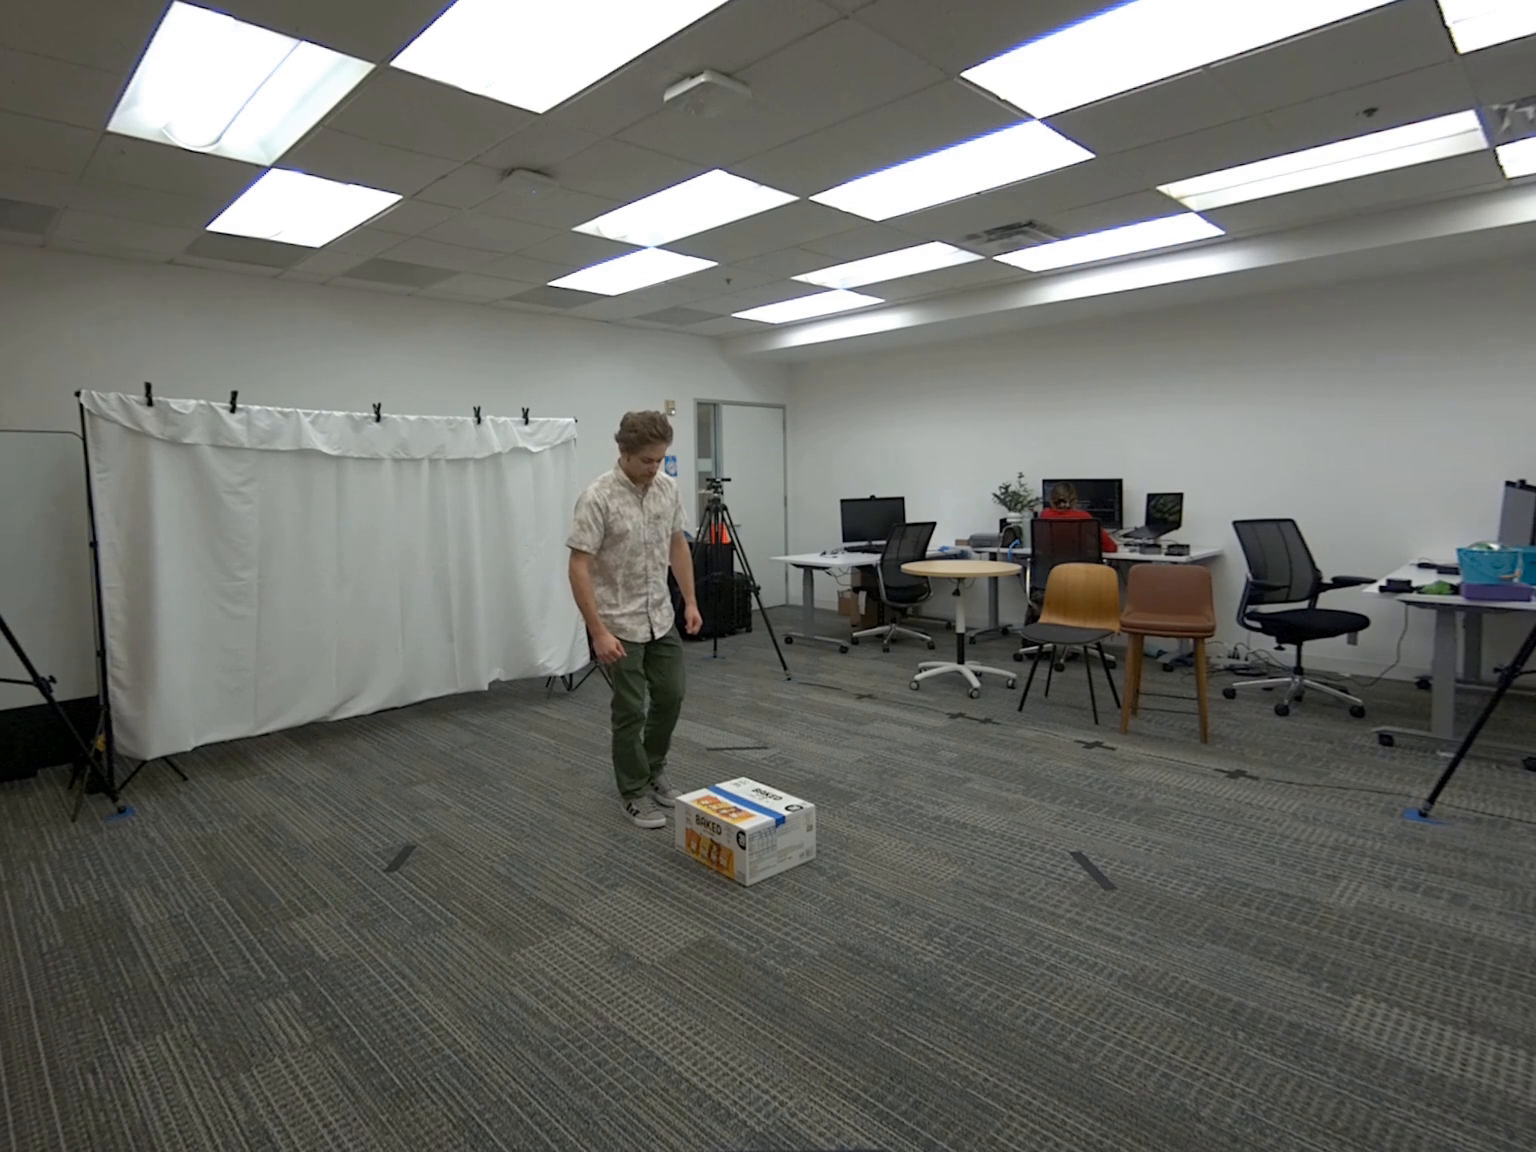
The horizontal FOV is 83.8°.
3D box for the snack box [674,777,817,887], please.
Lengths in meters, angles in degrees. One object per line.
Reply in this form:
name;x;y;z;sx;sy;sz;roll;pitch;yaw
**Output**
snack box;-0.084;0.936;3.166;0.331;0.205;0.418;-6;8;-41
